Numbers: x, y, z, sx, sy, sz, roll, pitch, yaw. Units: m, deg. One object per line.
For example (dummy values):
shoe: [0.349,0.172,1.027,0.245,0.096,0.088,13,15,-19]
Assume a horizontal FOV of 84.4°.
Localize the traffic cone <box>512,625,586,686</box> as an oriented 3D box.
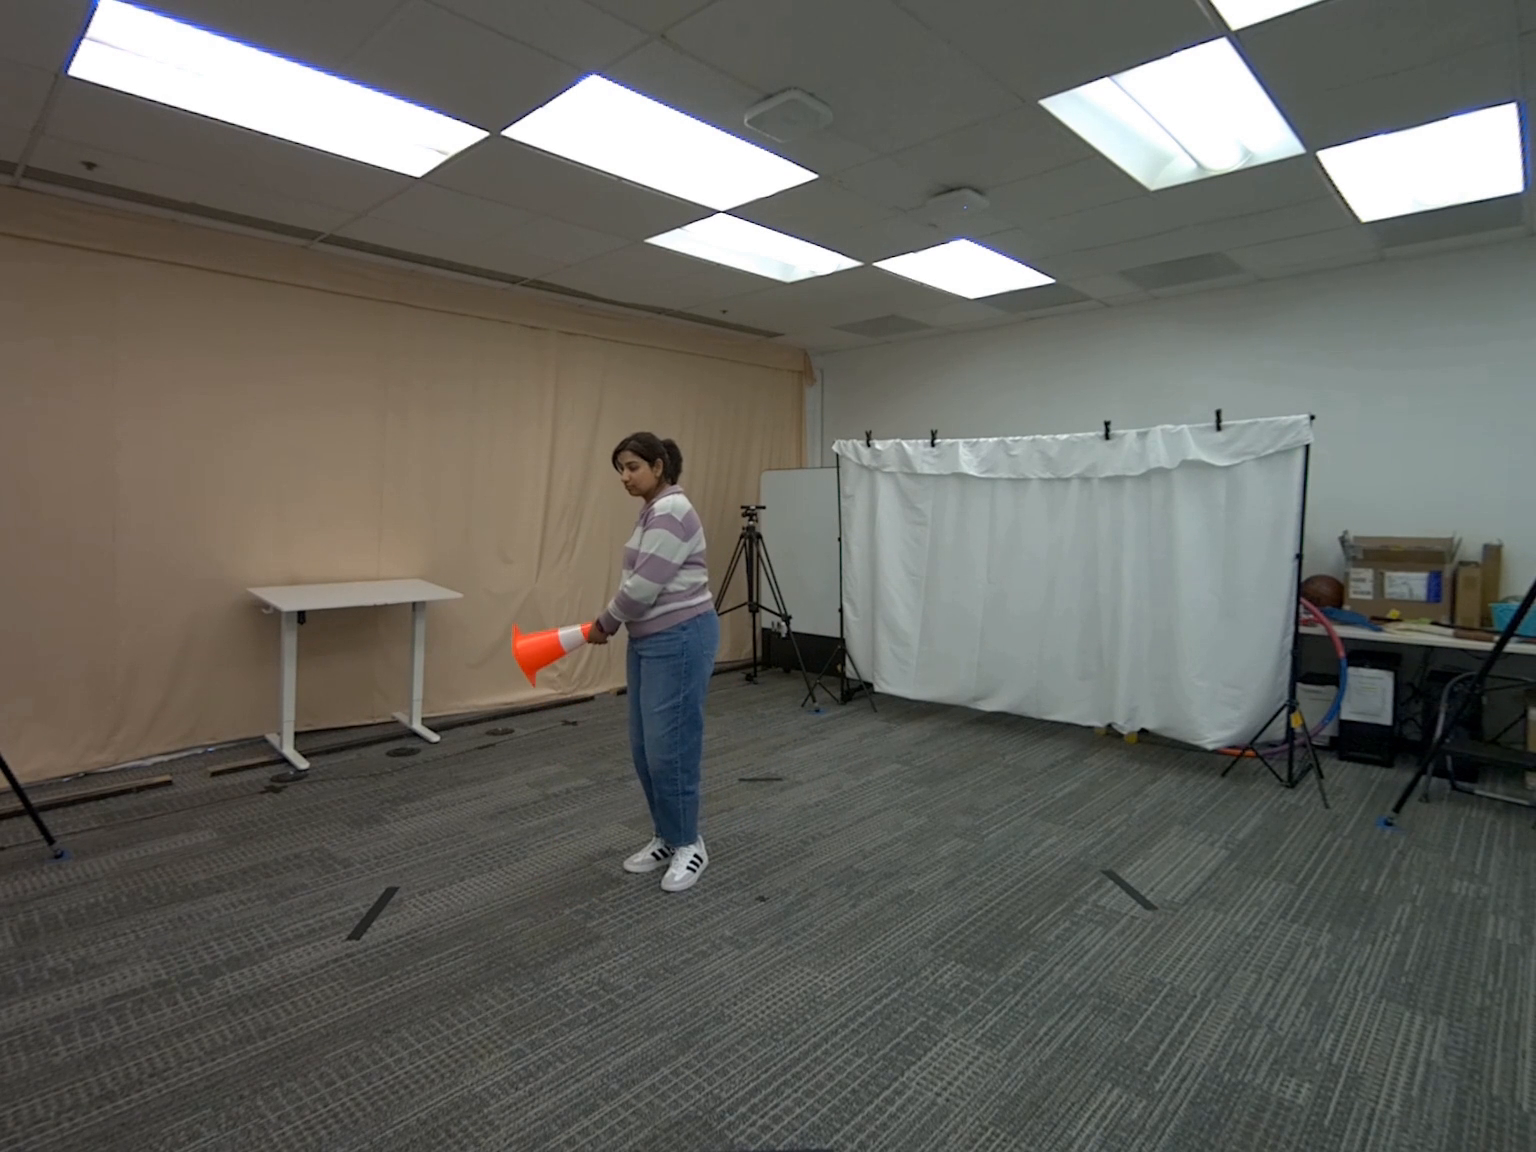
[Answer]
traffic cone: [-0.772,0.247,3.280,0.385,0.198,0.209,-19,30,5]
